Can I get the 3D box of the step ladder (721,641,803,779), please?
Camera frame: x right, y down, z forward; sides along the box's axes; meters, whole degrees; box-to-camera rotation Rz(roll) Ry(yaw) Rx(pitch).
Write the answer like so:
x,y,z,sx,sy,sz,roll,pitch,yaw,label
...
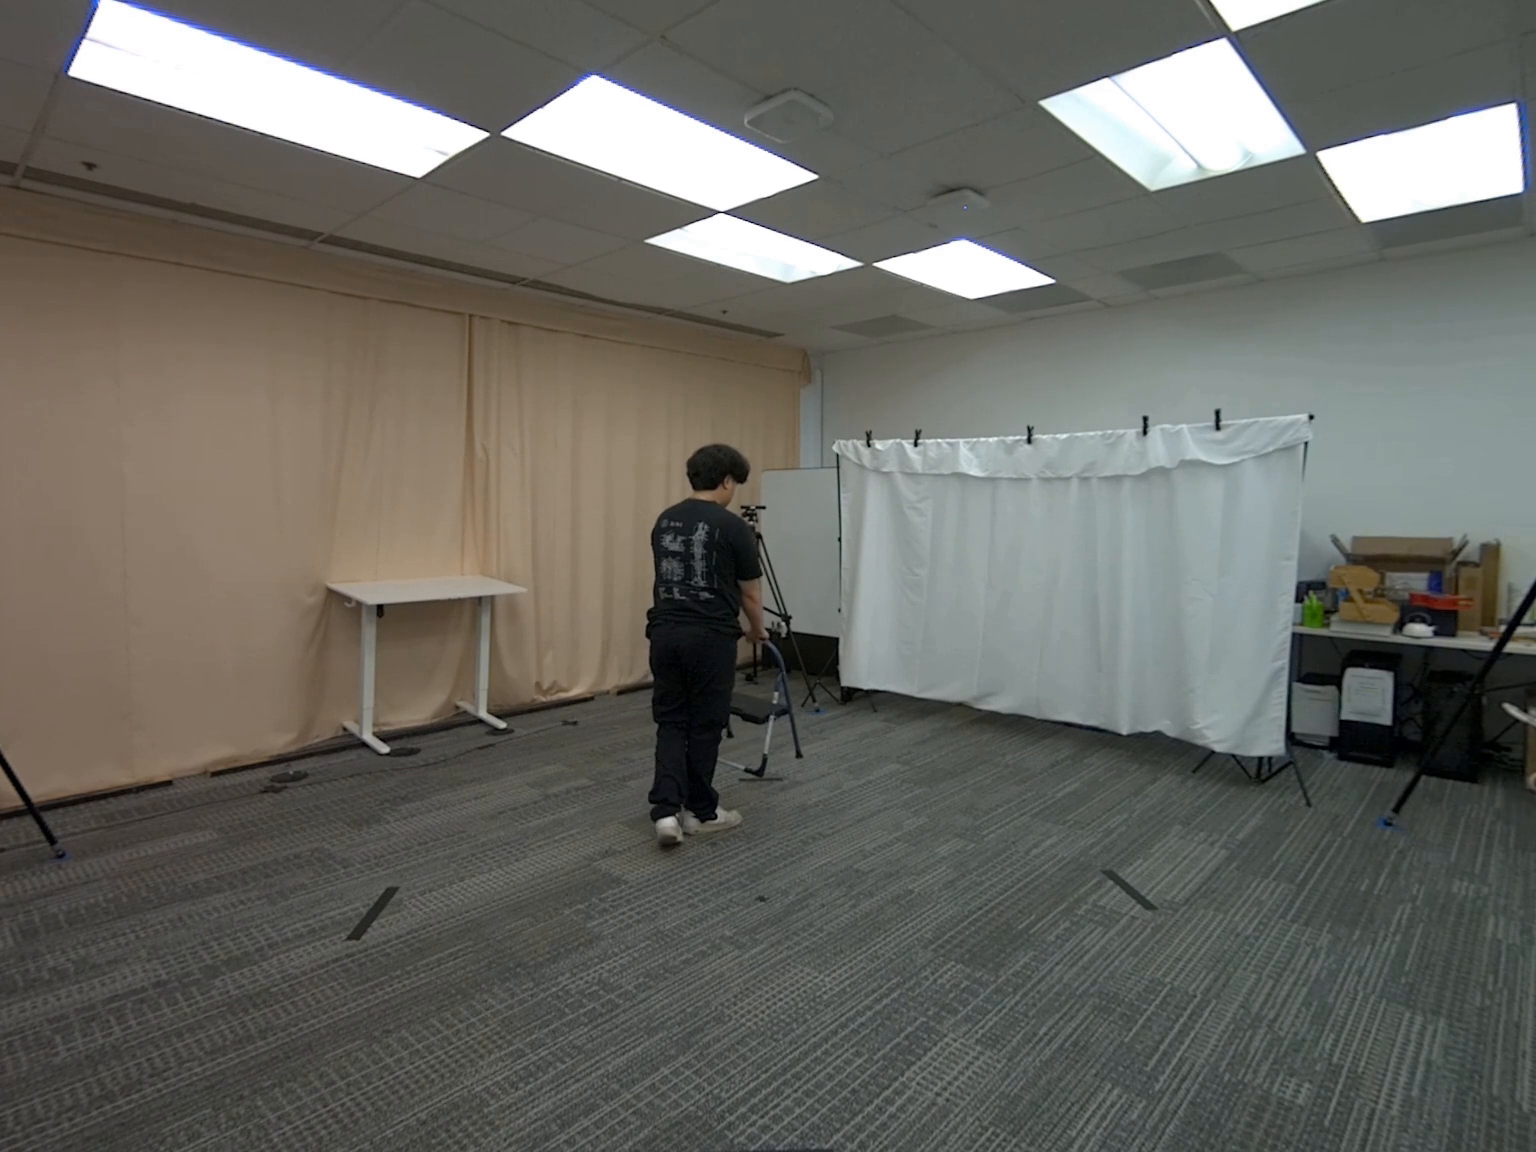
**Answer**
x,y,z,sx,sy,sz,roll,pitch,yaw,label
-0.089,0.537,3.866,0.445,0.603,0.339,8,9,35,step ladder
